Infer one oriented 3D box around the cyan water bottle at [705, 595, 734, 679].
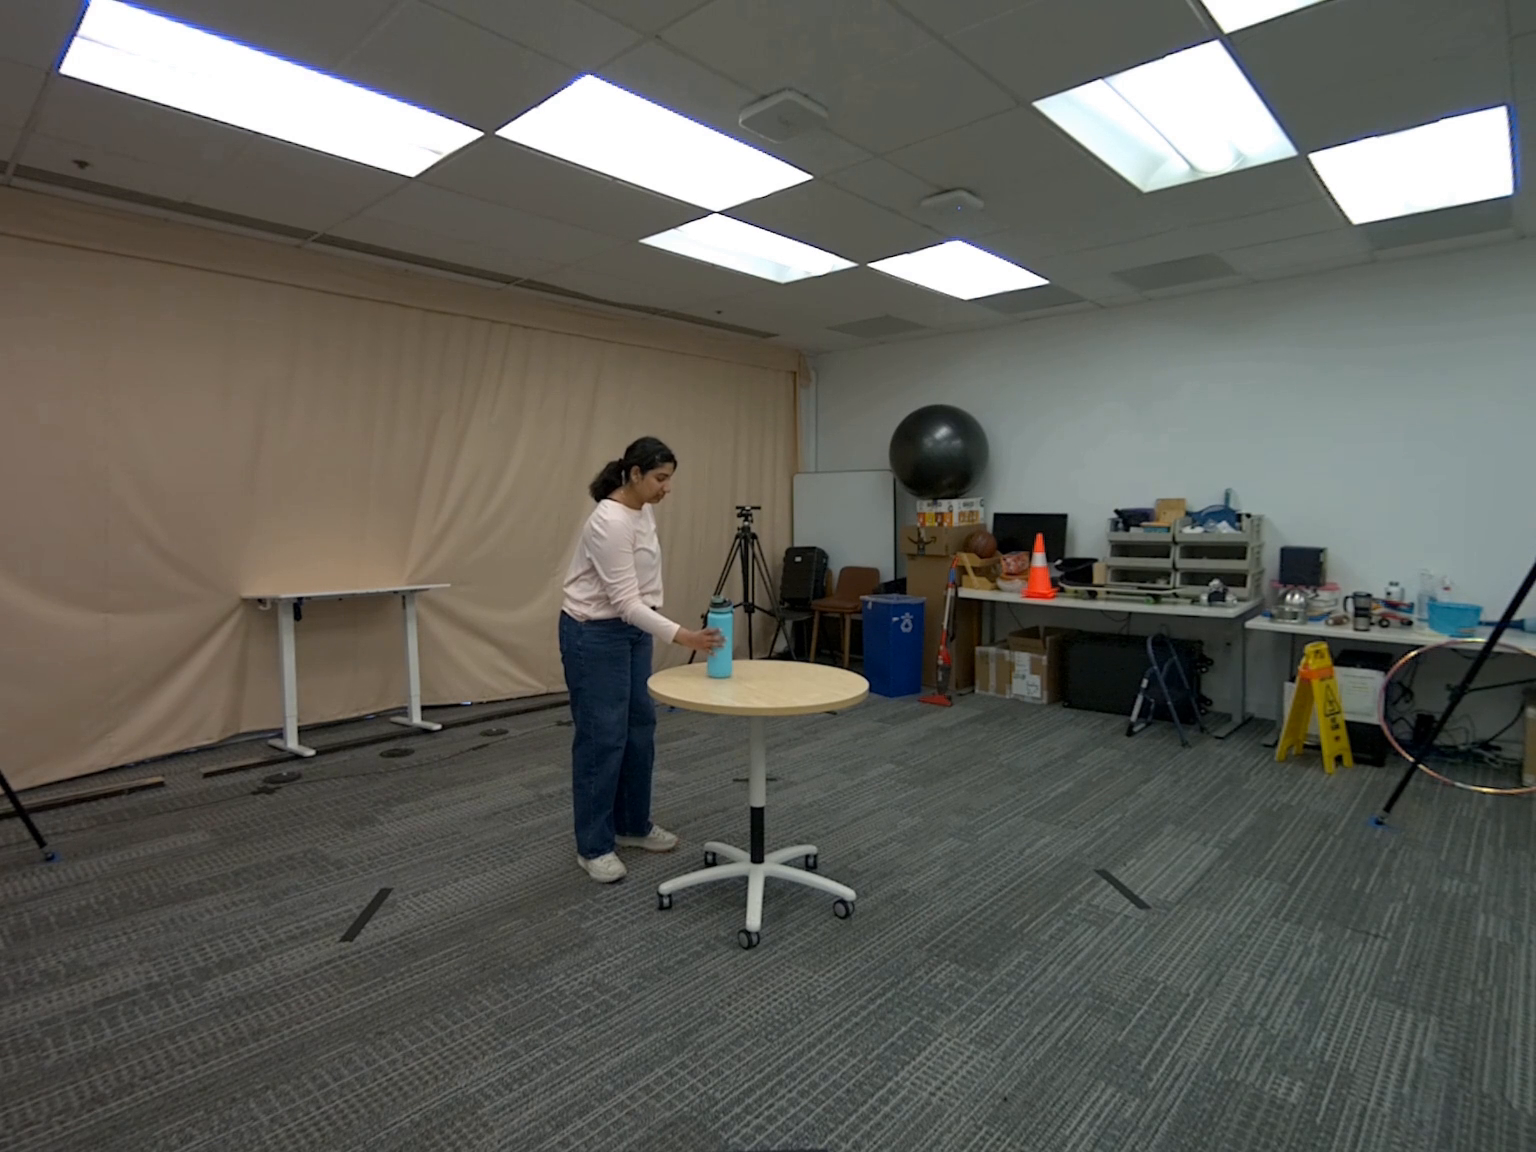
[{"bbox_3d":[-0.167,0.213,2.983,0.092,0.282,0.093,4,7,-2],"label":"cyan water bottle"}]
